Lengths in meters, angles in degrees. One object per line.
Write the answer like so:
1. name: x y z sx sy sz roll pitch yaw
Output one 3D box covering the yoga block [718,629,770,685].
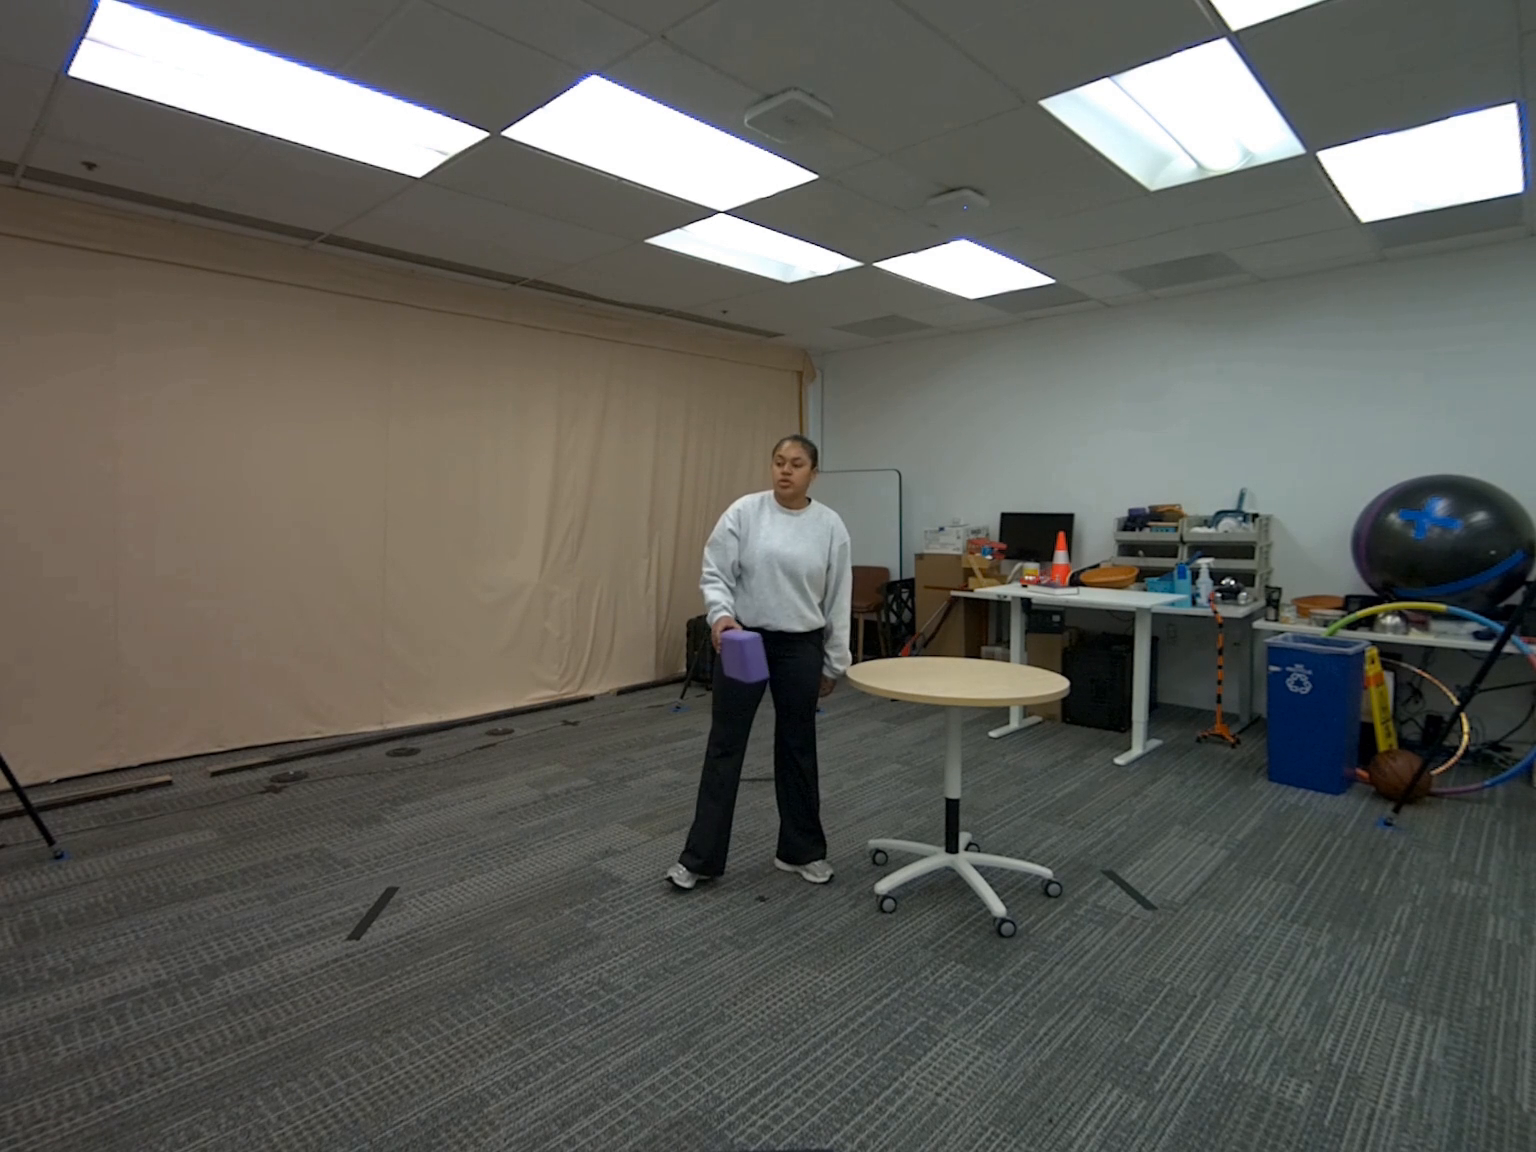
1. yoga block: -0.076 0.257 2.735 0.075 0.149 0.232 -9 2 -12
